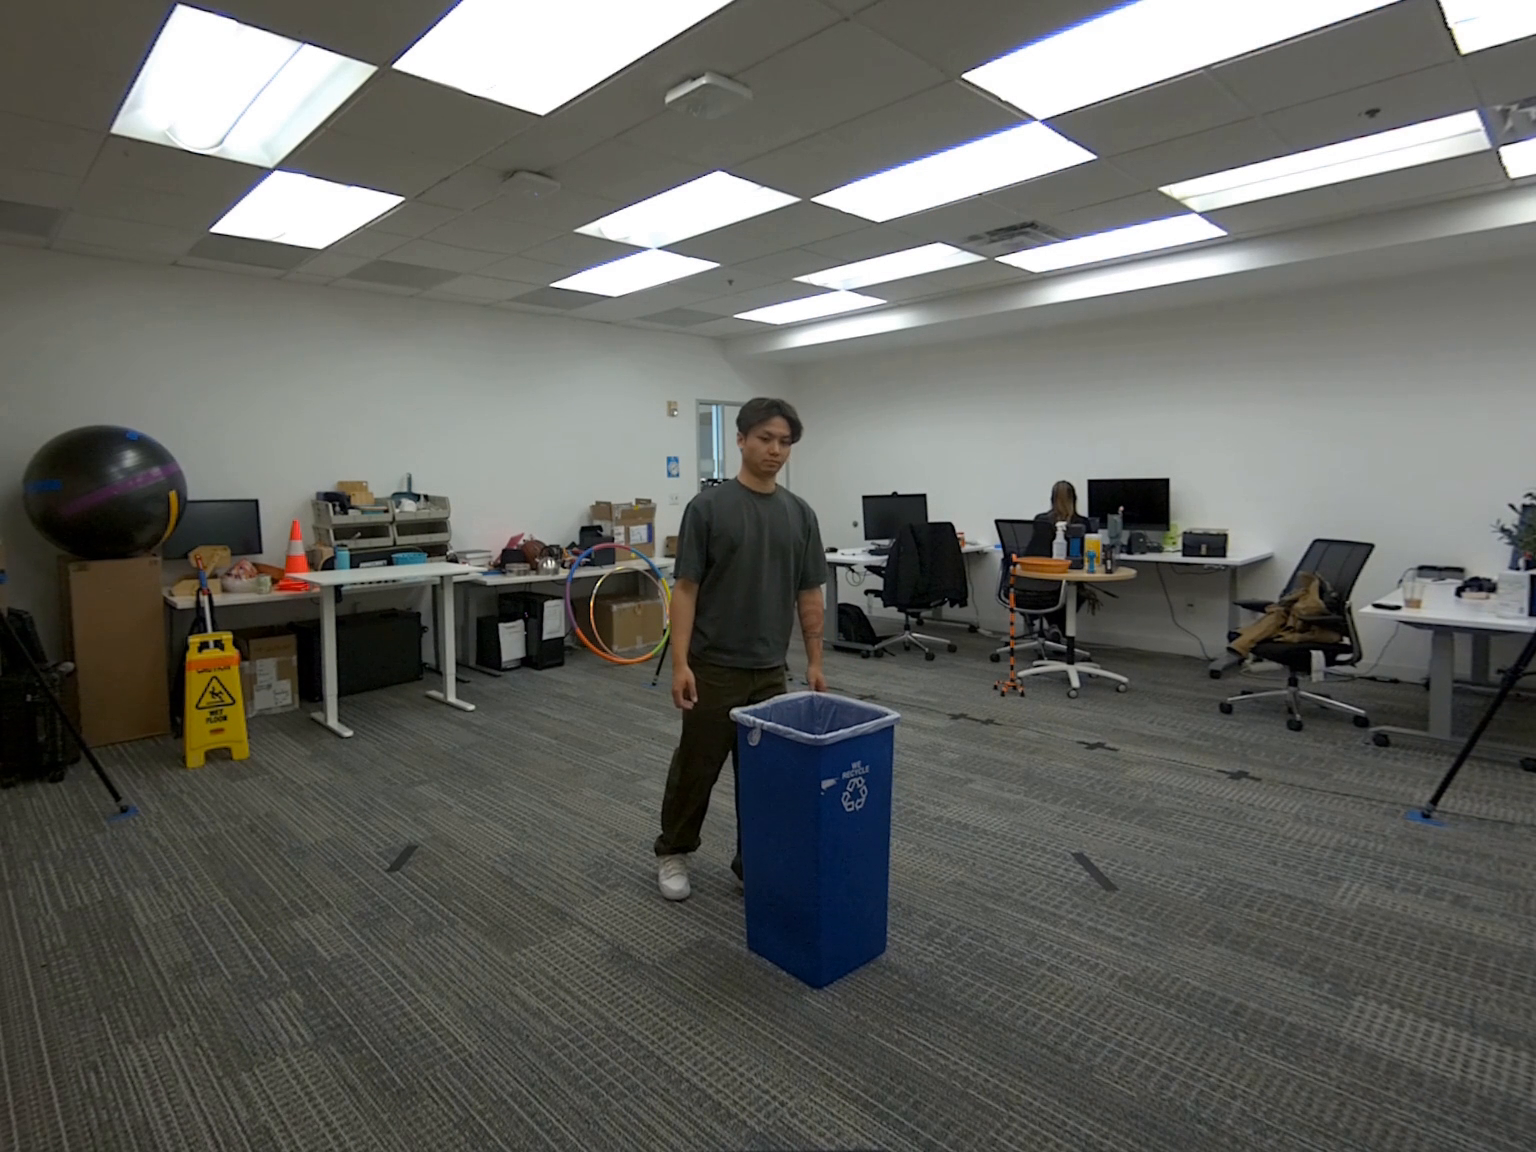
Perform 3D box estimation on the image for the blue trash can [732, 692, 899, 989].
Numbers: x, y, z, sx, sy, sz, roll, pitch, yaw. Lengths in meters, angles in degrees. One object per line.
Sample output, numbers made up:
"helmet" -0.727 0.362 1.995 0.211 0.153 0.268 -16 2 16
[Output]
"blue trash can" 0.147 0.751 2.520 0.364 0.711 0.390 -5 6 -42
